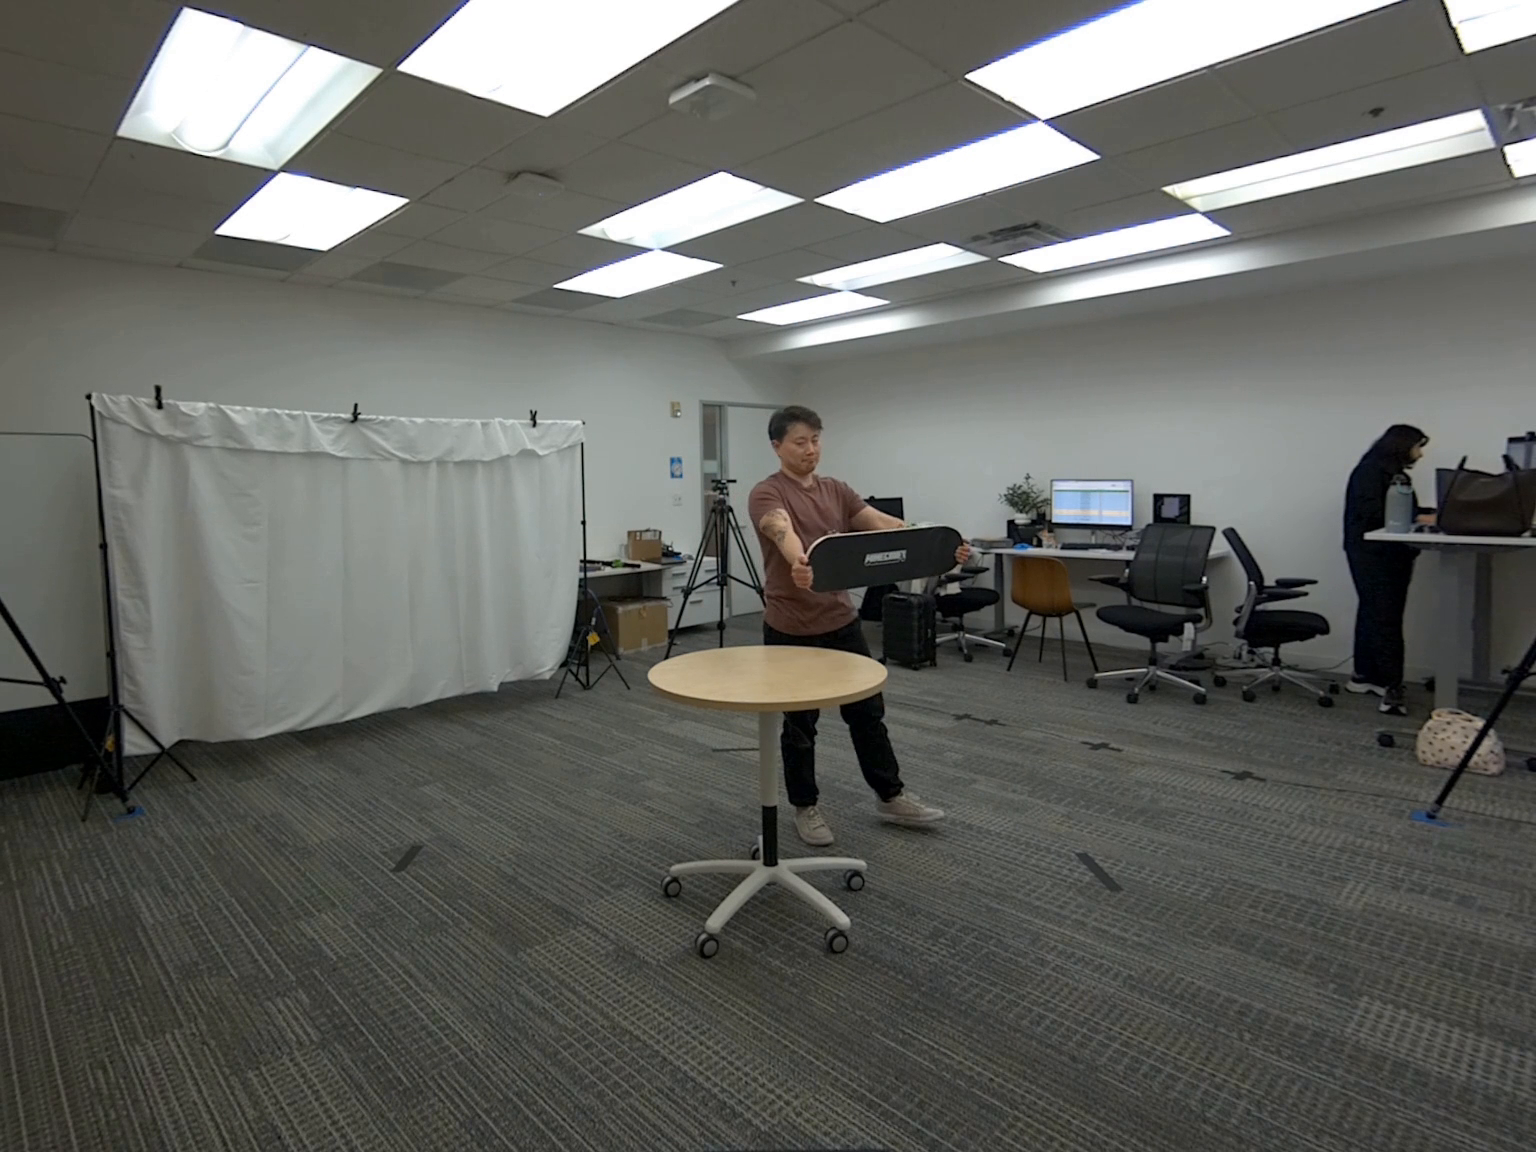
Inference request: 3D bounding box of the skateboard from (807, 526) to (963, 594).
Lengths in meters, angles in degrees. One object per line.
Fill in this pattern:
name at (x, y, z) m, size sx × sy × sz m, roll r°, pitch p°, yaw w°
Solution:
skateboard at (0.391, -0.065, 2.990) m, size 0.766 × 0.192 × 0.113 m, roll -8°, pitch 7°, yaw -39°
